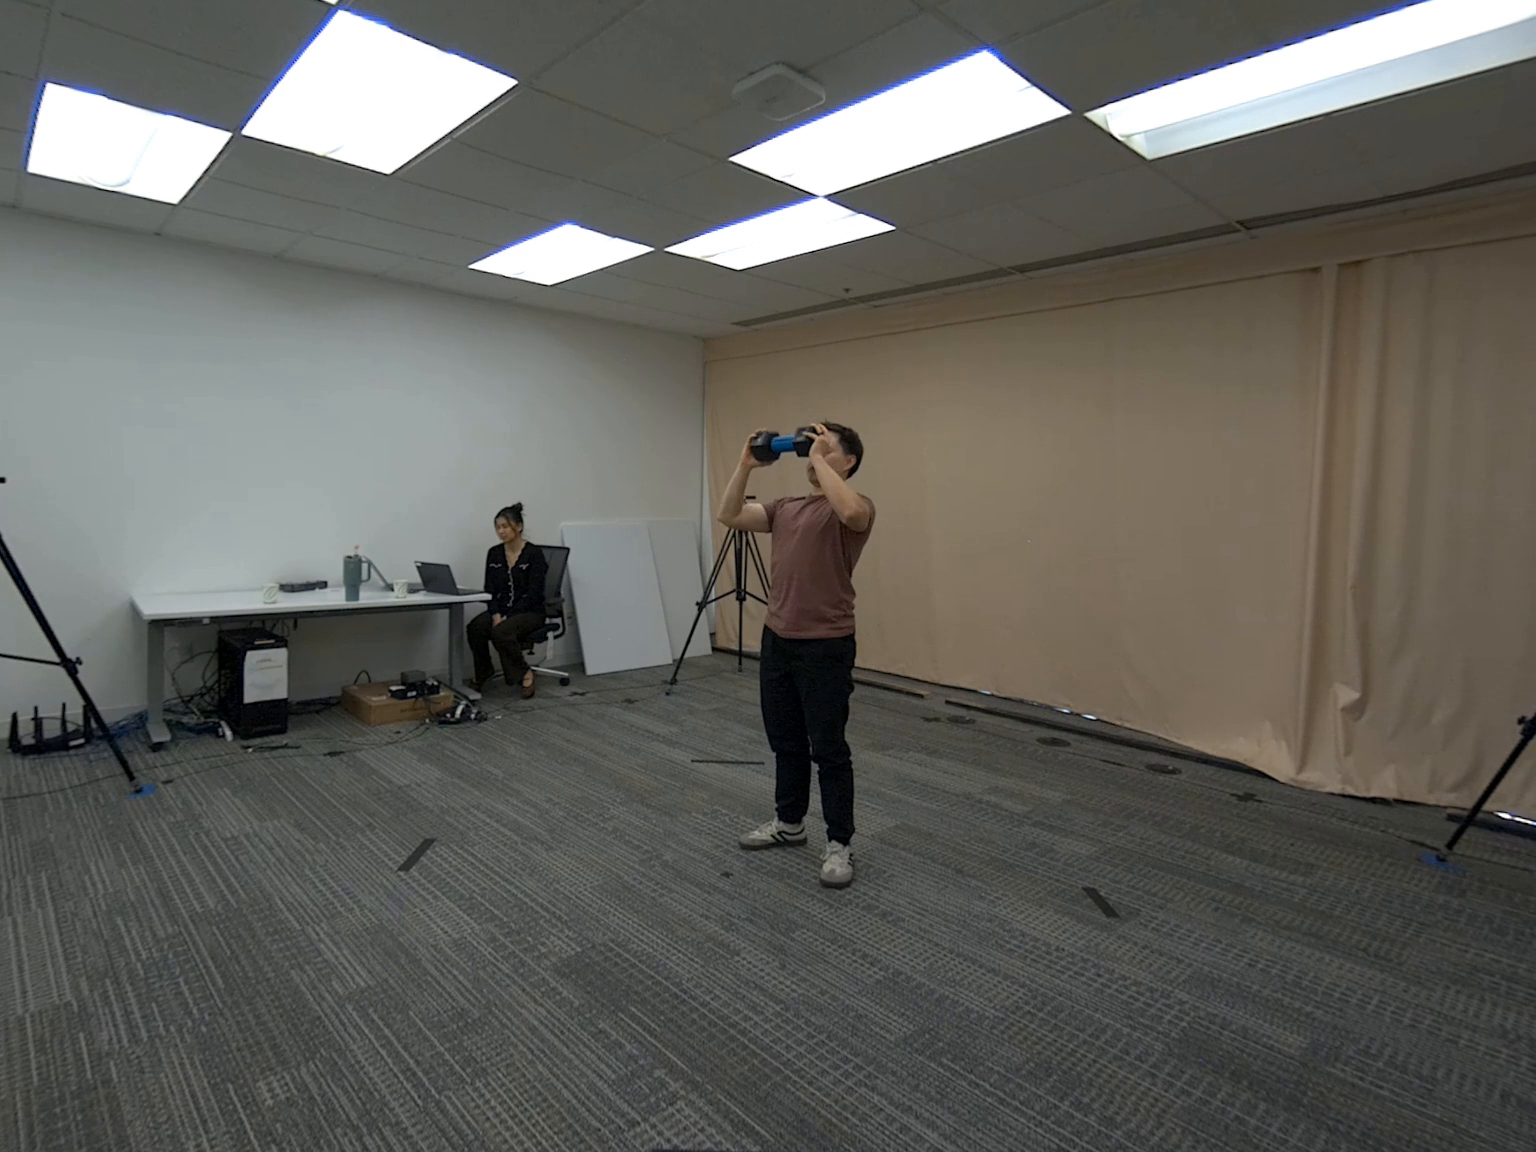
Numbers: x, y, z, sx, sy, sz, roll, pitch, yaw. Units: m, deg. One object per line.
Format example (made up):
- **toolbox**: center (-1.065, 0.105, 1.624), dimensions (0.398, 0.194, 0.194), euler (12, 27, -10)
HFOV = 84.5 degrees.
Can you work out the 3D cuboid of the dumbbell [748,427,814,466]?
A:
- **dumbbell**: center (0.066, -0.487, 3.102), dimensions (0.301, 0.124, 0.105), euler (2, -26, 45)
